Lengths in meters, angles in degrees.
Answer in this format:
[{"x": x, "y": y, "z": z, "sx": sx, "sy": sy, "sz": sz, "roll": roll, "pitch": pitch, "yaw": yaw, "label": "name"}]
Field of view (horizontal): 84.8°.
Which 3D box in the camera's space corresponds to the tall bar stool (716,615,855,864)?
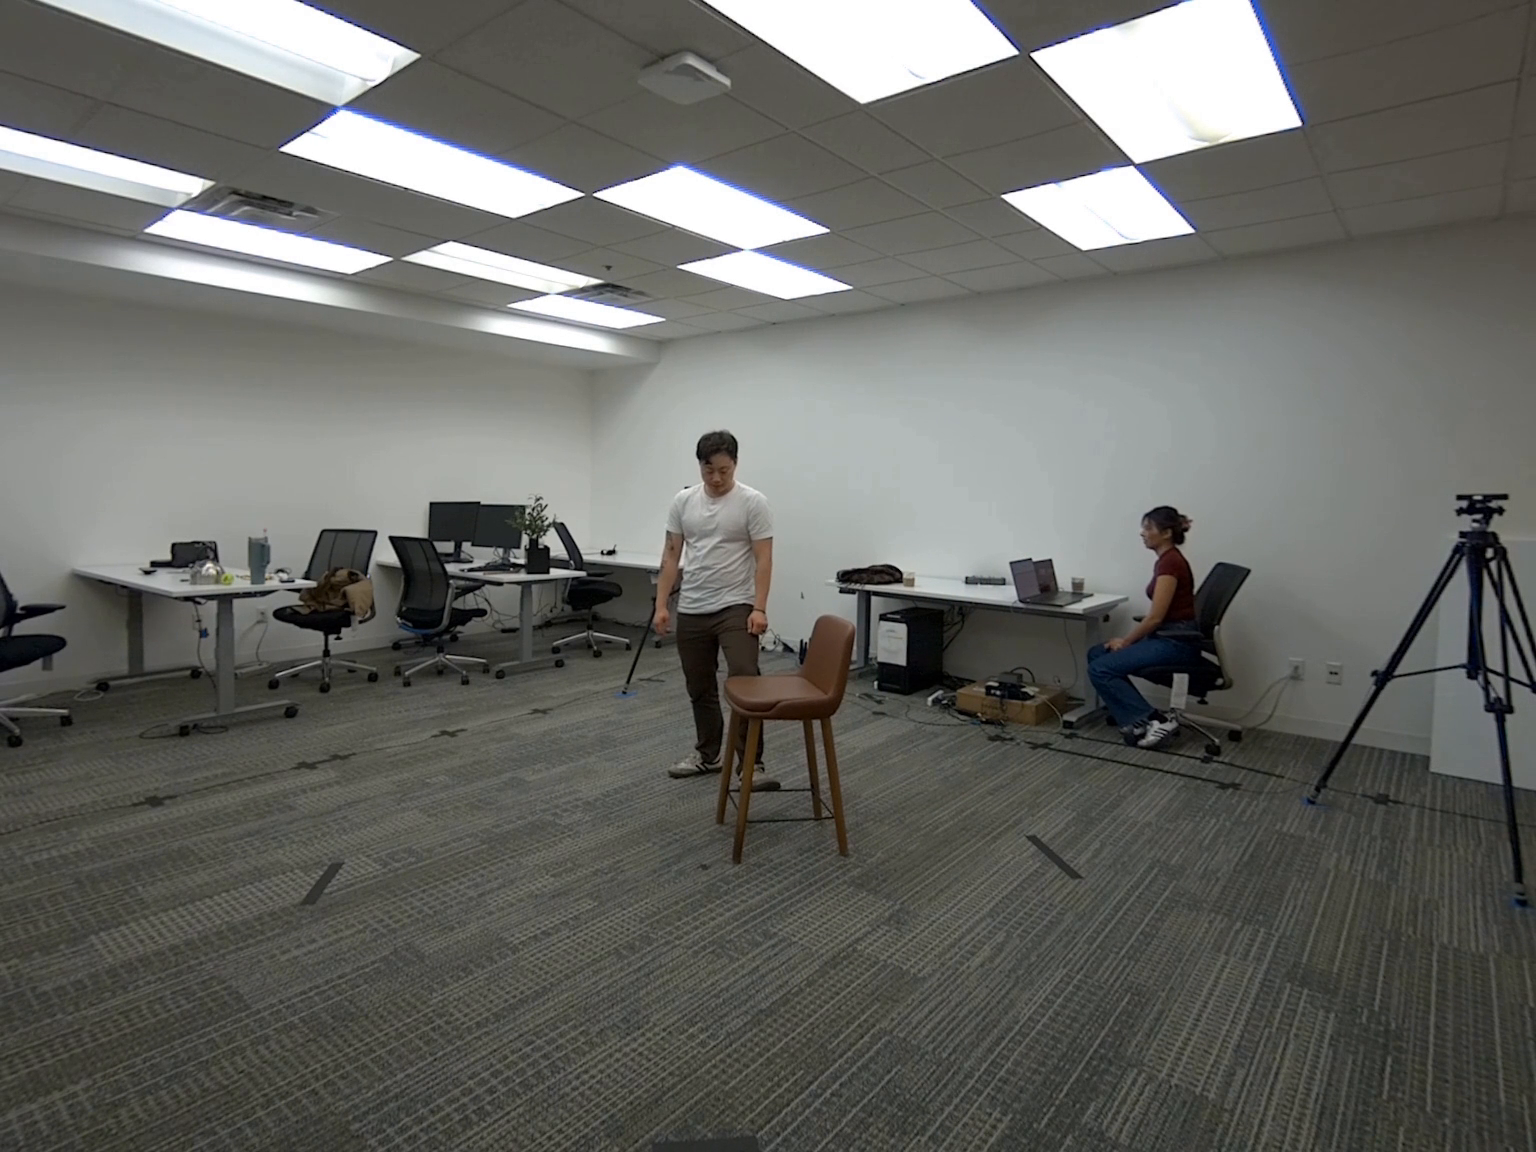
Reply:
[{"x": 0.056, "y": 0.609, "z": 3.361, "sx": 0.462, "sy": 0.887, "sz": 0.463, "roll": 2, "pitch": 3, "yaw": -11, "label": "tall bar stool"}]
